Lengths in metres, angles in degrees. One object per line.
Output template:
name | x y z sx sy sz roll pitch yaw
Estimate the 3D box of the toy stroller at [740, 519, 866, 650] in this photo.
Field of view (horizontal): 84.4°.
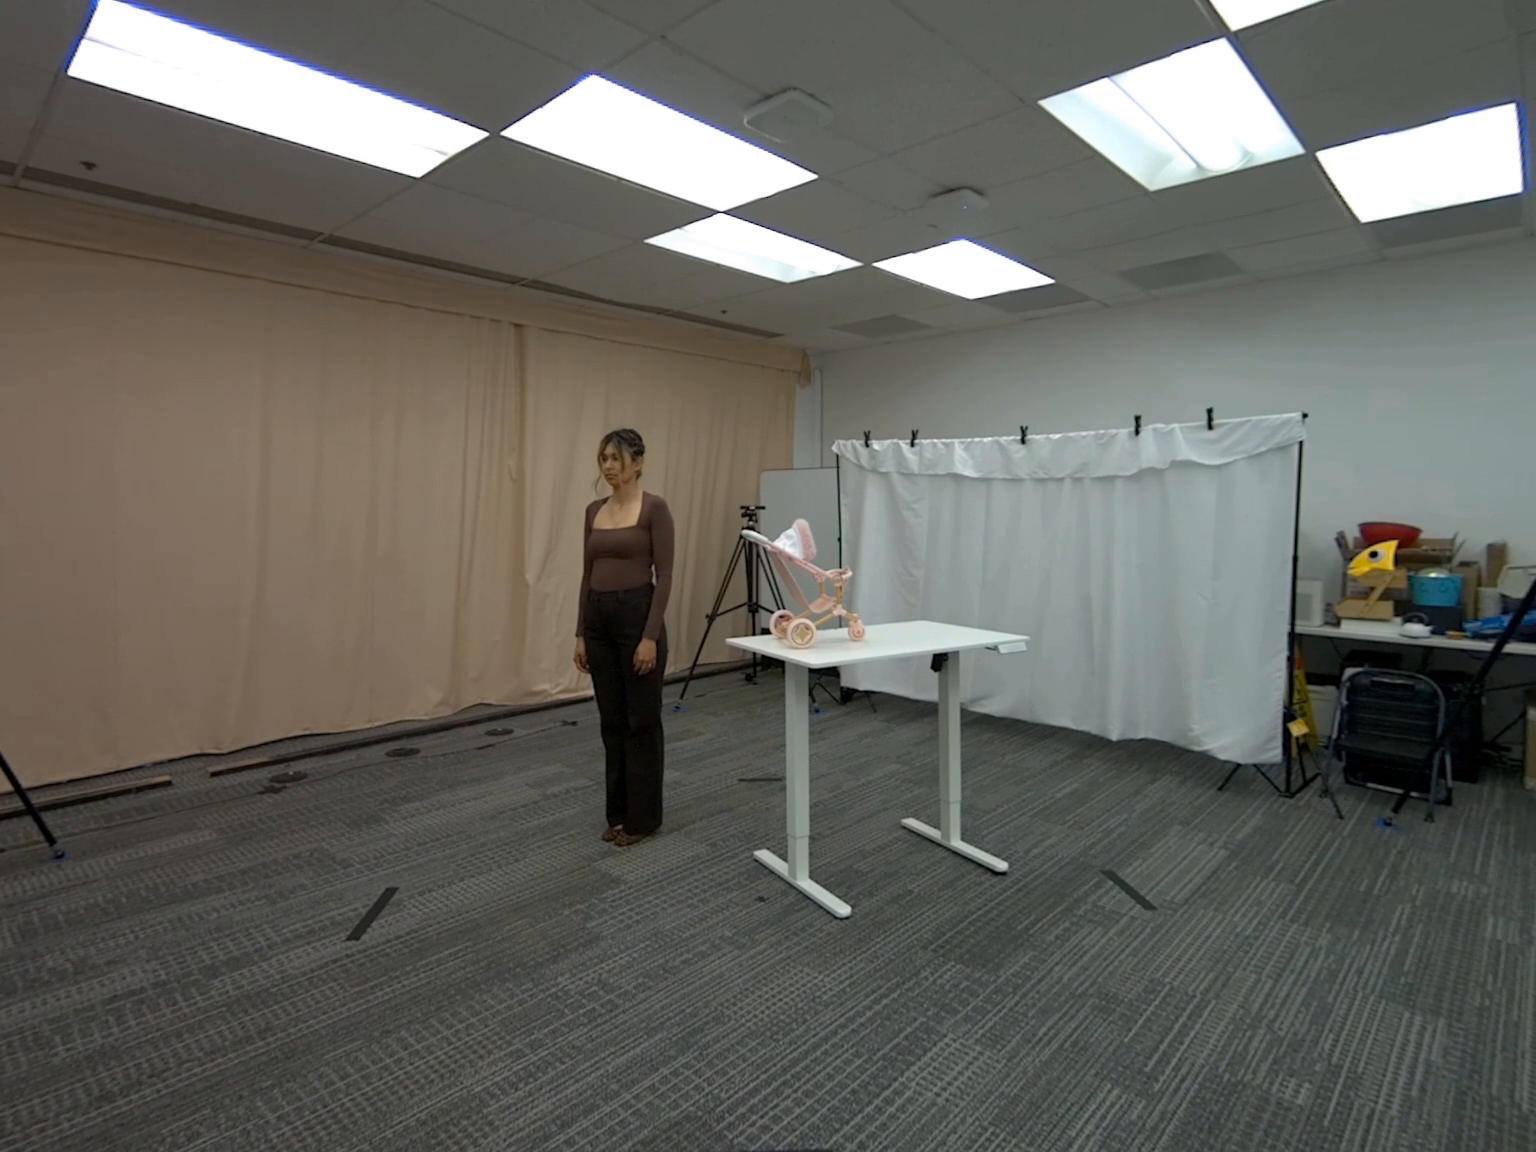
toy stroller | 0.155 0.030 3.130 0.339 0.532 0.284 -19 6 -7
